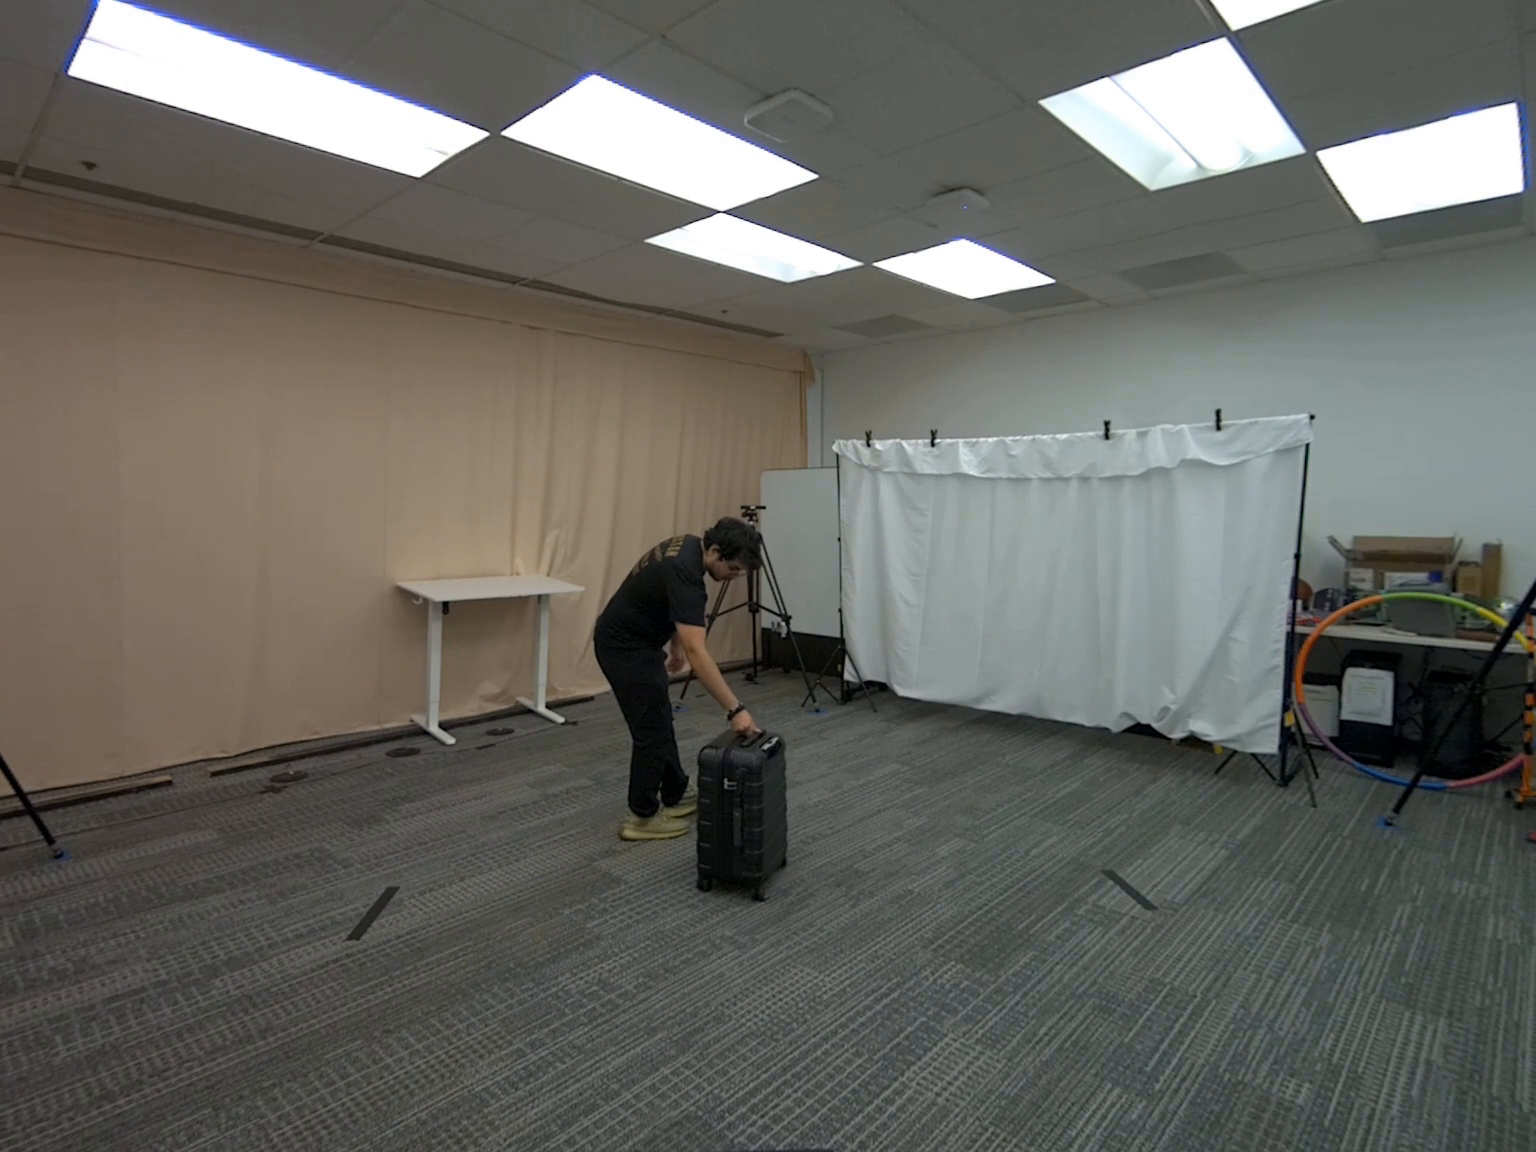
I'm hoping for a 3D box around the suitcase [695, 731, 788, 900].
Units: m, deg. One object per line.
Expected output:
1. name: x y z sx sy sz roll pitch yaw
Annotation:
1. suitcase: -0.094 0.857 3.115 0.254 0.548 0.368 1 5 20
